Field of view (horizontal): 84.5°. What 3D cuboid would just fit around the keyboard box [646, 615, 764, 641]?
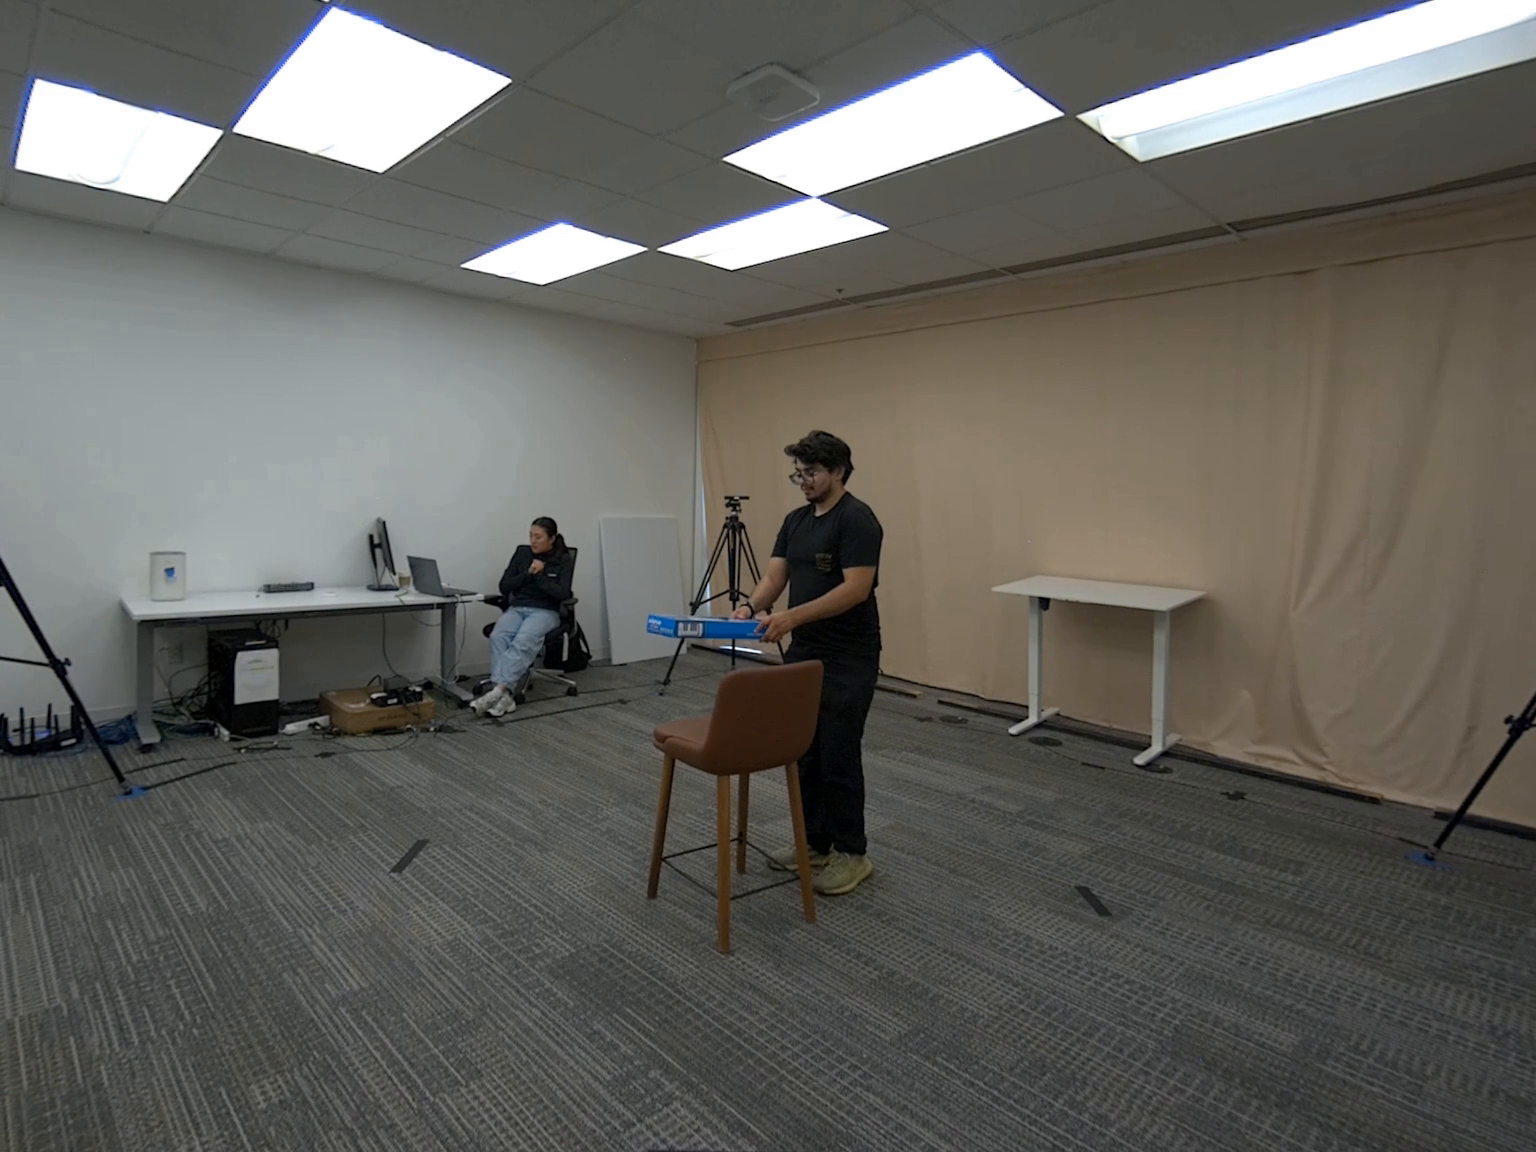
[{"bbox_3d":[-0.175,0.176,2.800,0.426,0.059,0.180,4,1,-38],"label":"keyboard box"}]
